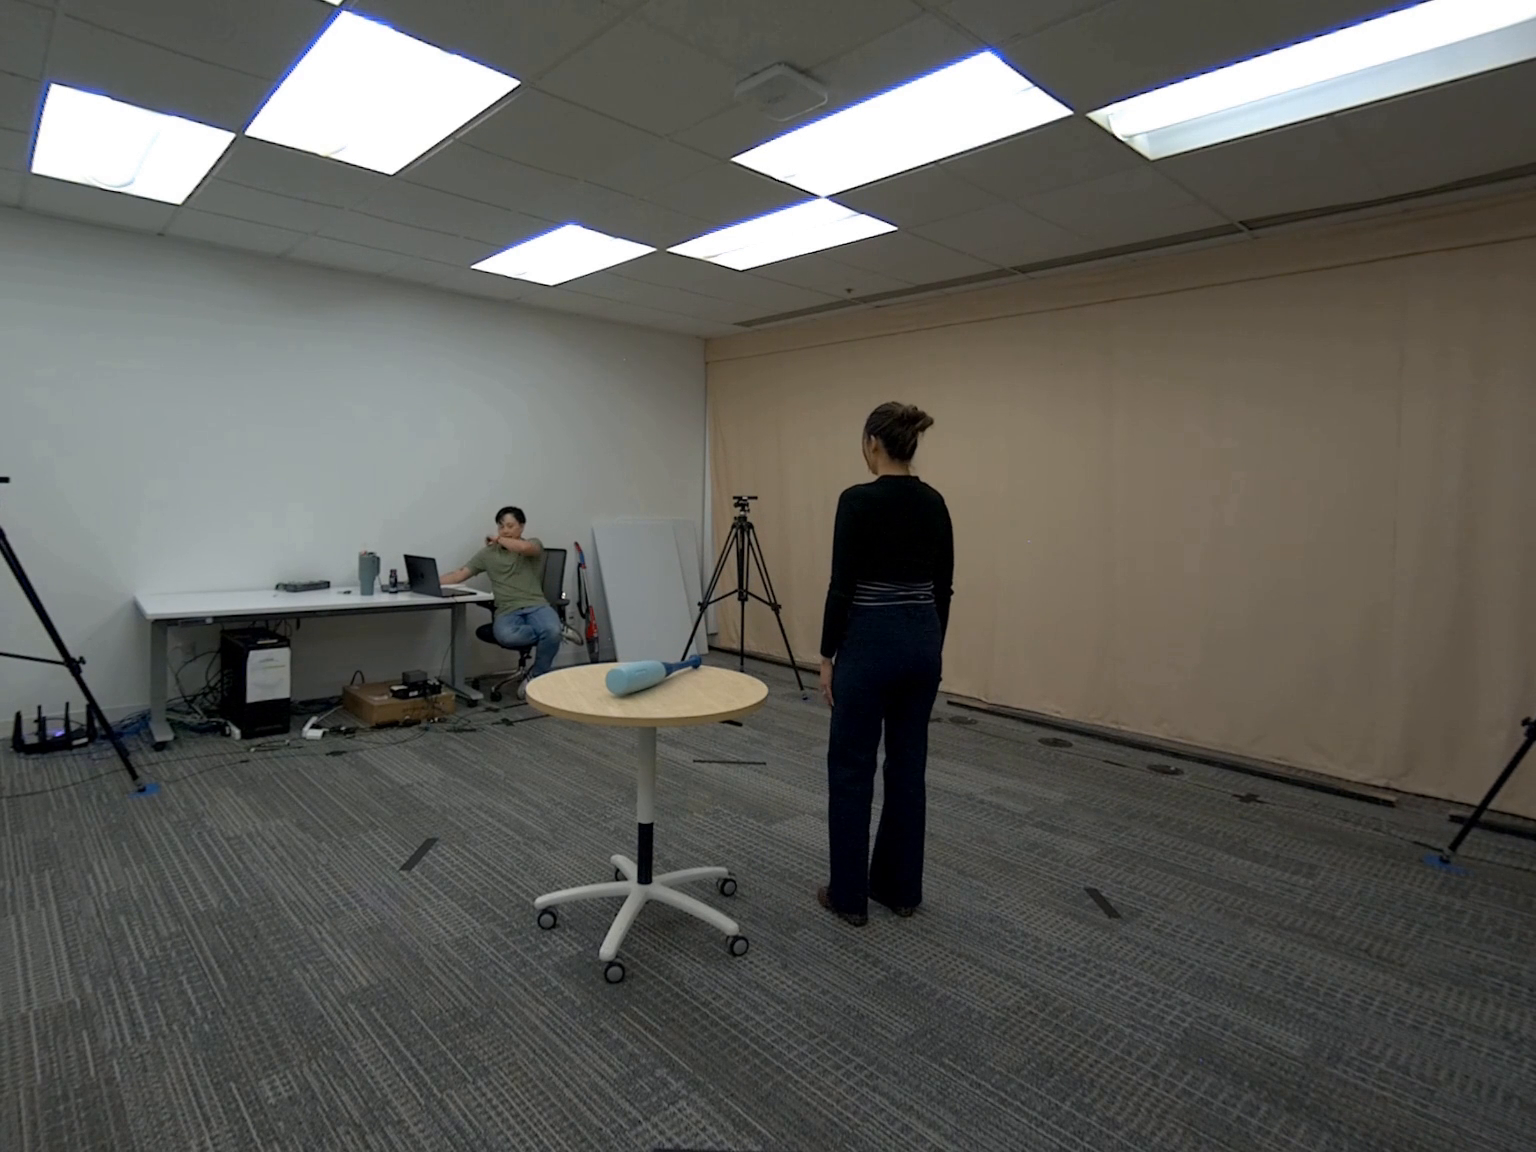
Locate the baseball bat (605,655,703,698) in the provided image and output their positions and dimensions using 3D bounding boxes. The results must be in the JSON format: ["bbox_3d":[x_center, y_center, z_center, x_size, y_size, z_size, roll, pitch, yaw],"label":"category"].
[{"bbox_3d":[-0.349,0.312,2.741,0.091,0.089,0.533,3,3,23],"label":"baseball bat"}]
